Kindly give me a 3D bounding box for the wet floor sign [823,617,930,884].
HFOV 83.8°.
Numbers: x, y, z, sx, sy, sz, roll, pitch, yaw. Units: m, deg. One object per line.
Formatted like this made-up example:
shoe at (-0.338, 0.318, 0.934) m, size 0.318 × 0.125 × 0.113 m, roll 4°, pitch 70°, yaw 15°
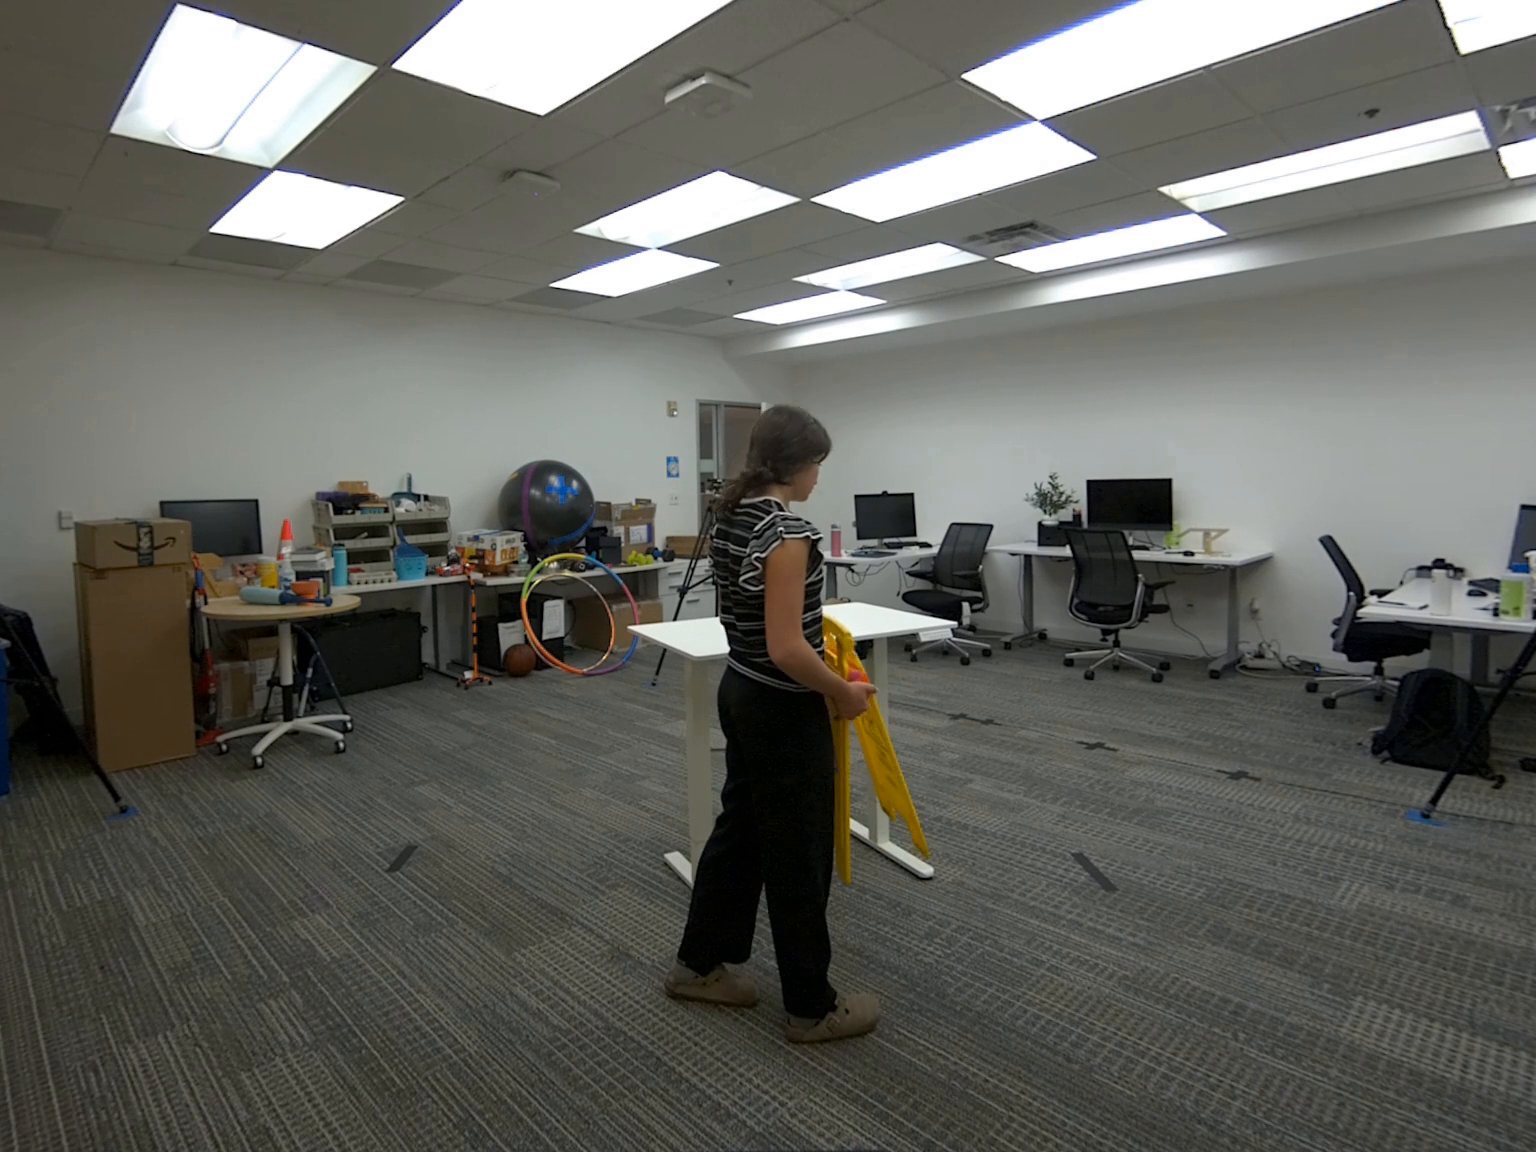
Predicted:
wet floor sign at (0.218, 0.431, 2.271) m, size 0.287 × 0.638 × 0.289 m, roll -12°, pitch 13°, yaw -14°
